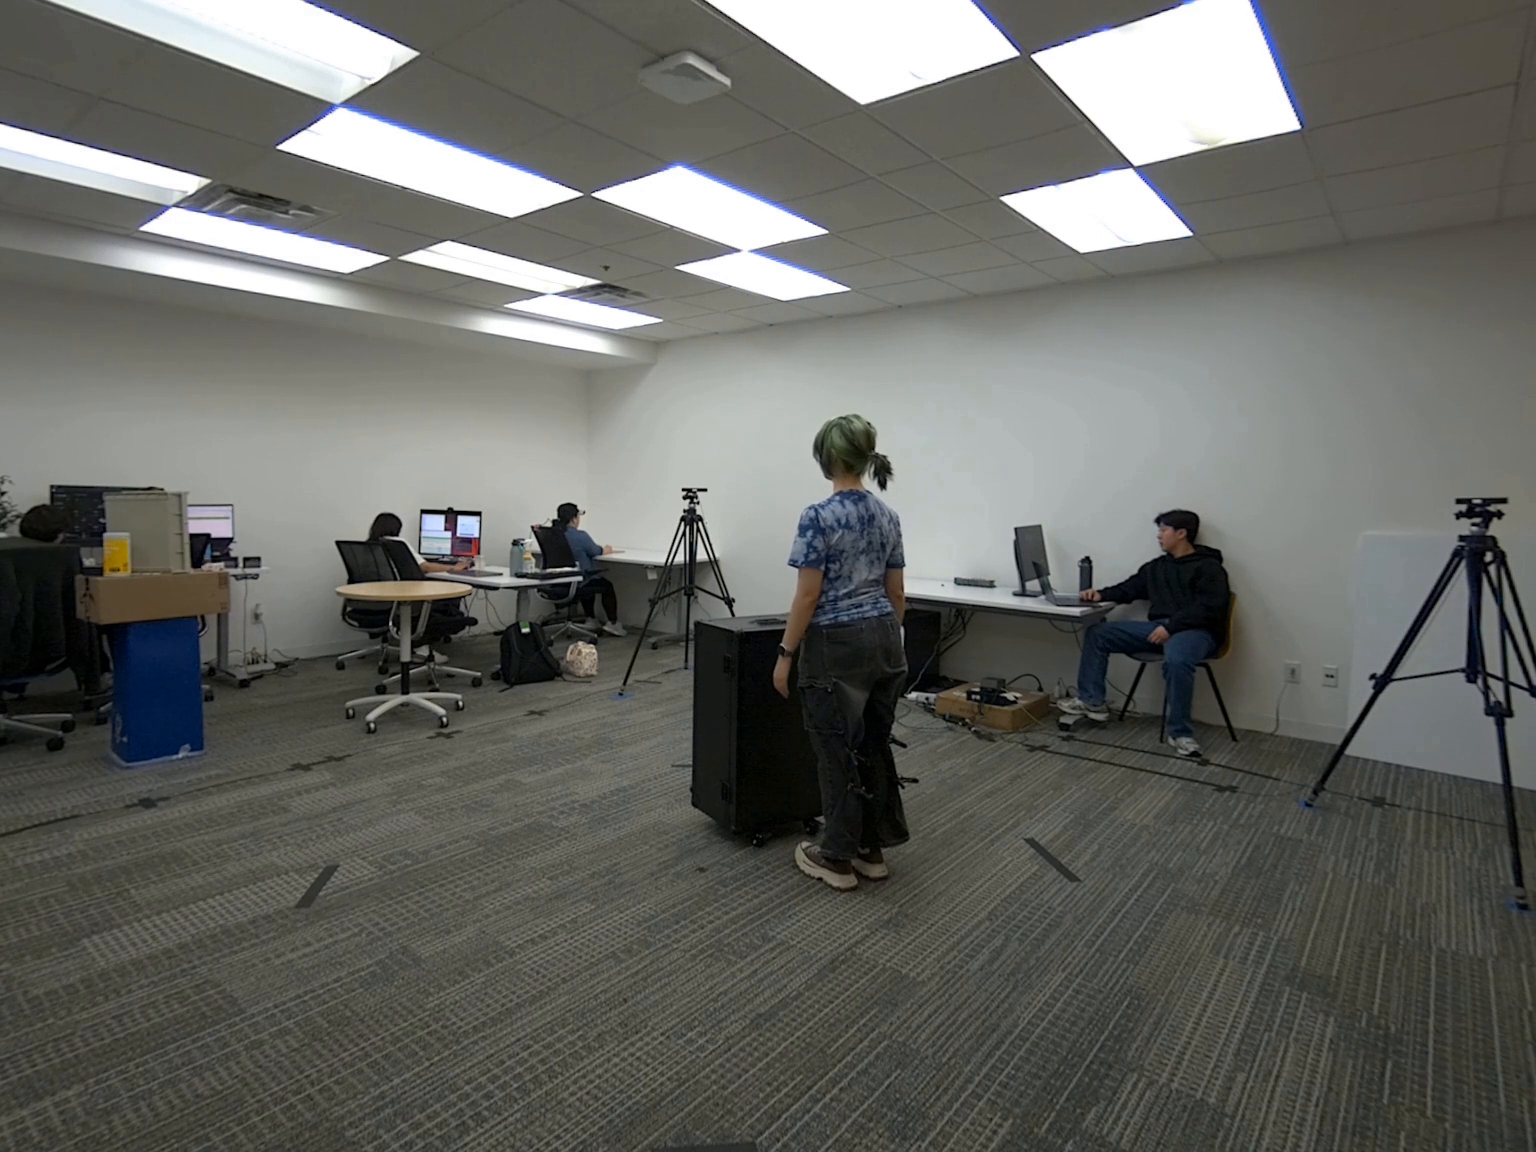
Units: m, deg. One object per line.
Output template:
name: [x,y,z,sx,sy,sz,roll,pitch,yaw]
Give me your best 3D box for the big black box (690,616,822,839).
big black box: [-0.033,0.550,3.511,0.507,0.859,0.408,-1,3,-32]
